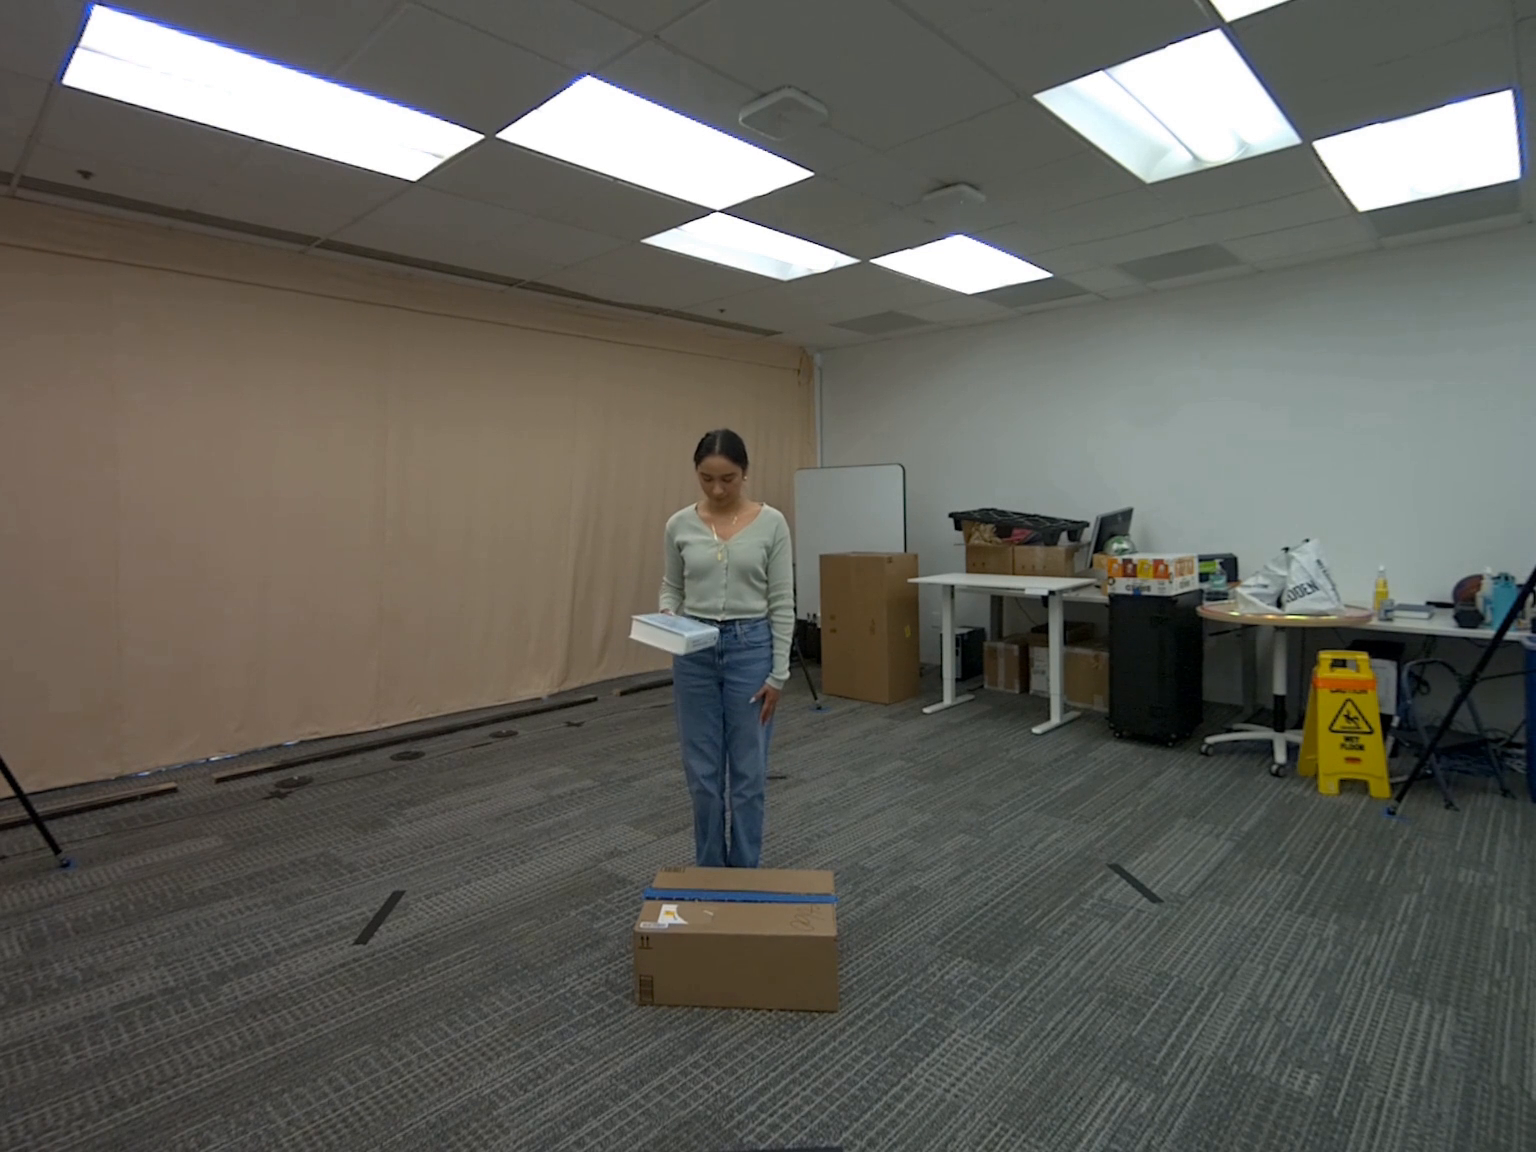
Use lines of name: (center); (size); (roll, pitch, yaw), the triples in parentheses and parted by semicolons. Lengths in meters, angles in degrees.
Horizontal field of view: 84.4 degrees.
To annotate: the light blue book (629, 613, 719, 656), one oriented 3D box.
light blue book: (-0.282, 0.176, 2.588); (0.196, 0.059, 0.255); (16, 7, 20)
